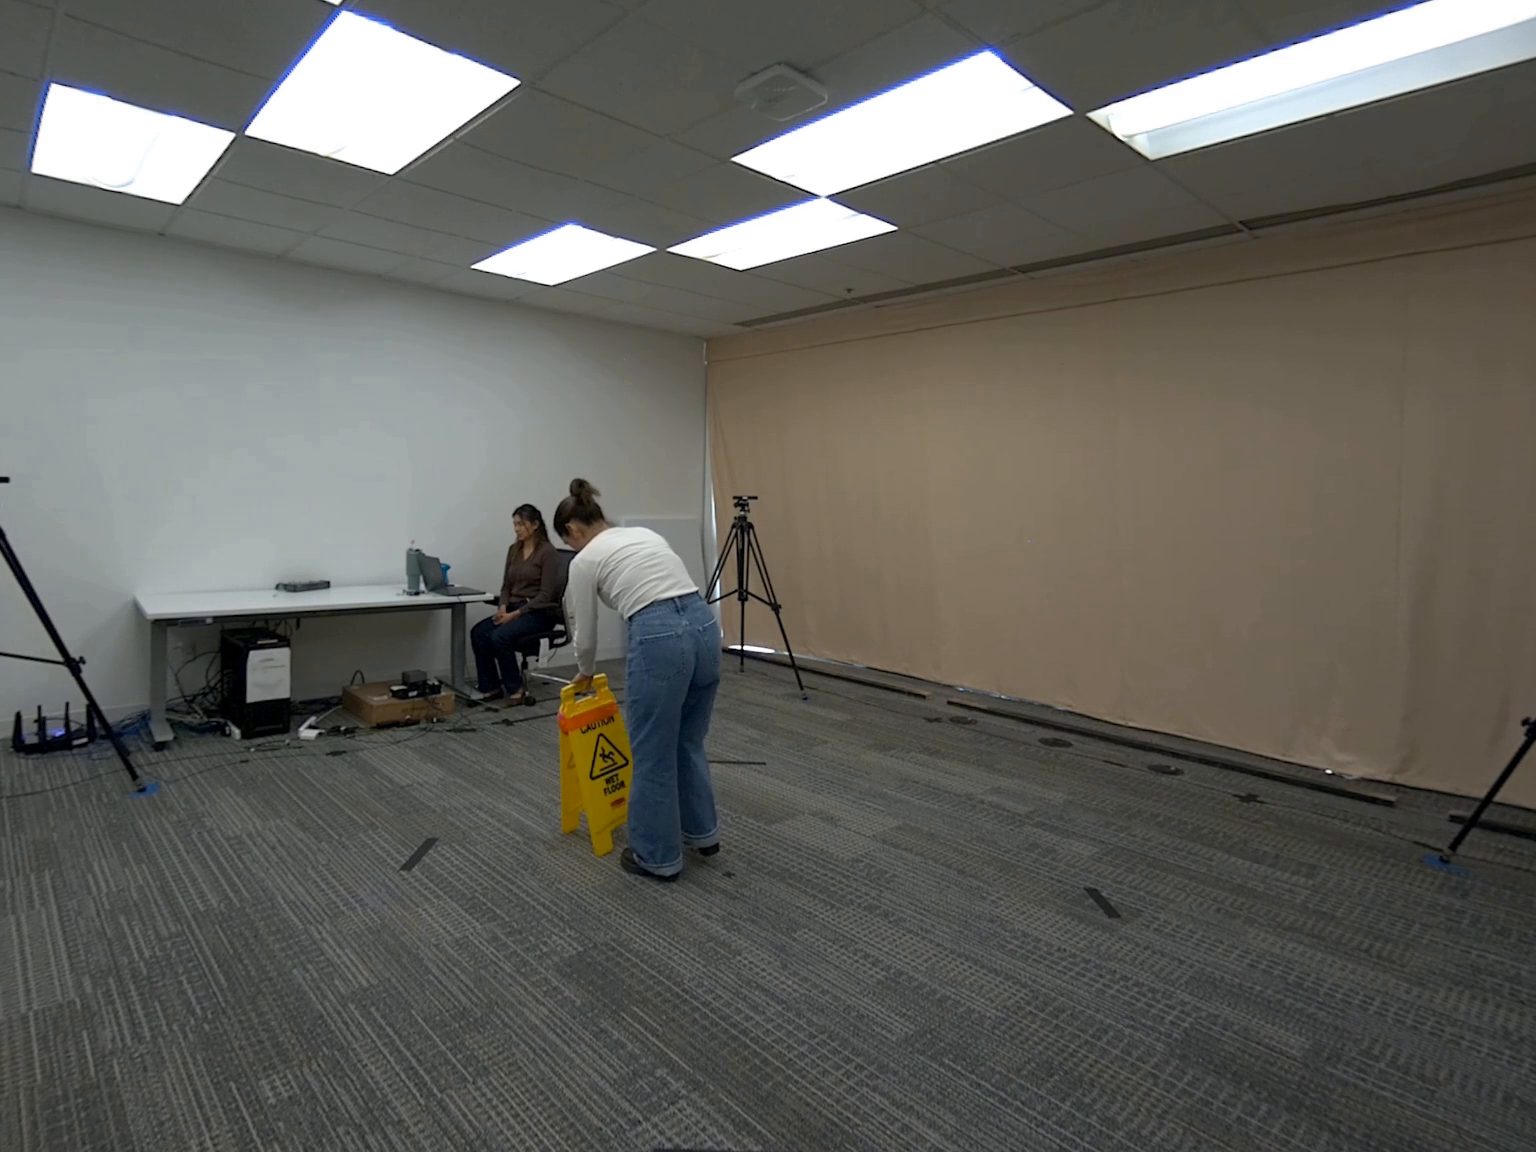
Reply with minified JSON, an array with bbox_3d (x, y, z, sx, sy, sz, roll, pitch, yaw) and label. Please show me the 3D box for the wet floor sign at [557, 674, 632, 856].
[{"bbox_3d":[-0.691,0.725,3.371,0.277,0.640,0.297,-16,14,-37],"label":"wet floor sign"}]
